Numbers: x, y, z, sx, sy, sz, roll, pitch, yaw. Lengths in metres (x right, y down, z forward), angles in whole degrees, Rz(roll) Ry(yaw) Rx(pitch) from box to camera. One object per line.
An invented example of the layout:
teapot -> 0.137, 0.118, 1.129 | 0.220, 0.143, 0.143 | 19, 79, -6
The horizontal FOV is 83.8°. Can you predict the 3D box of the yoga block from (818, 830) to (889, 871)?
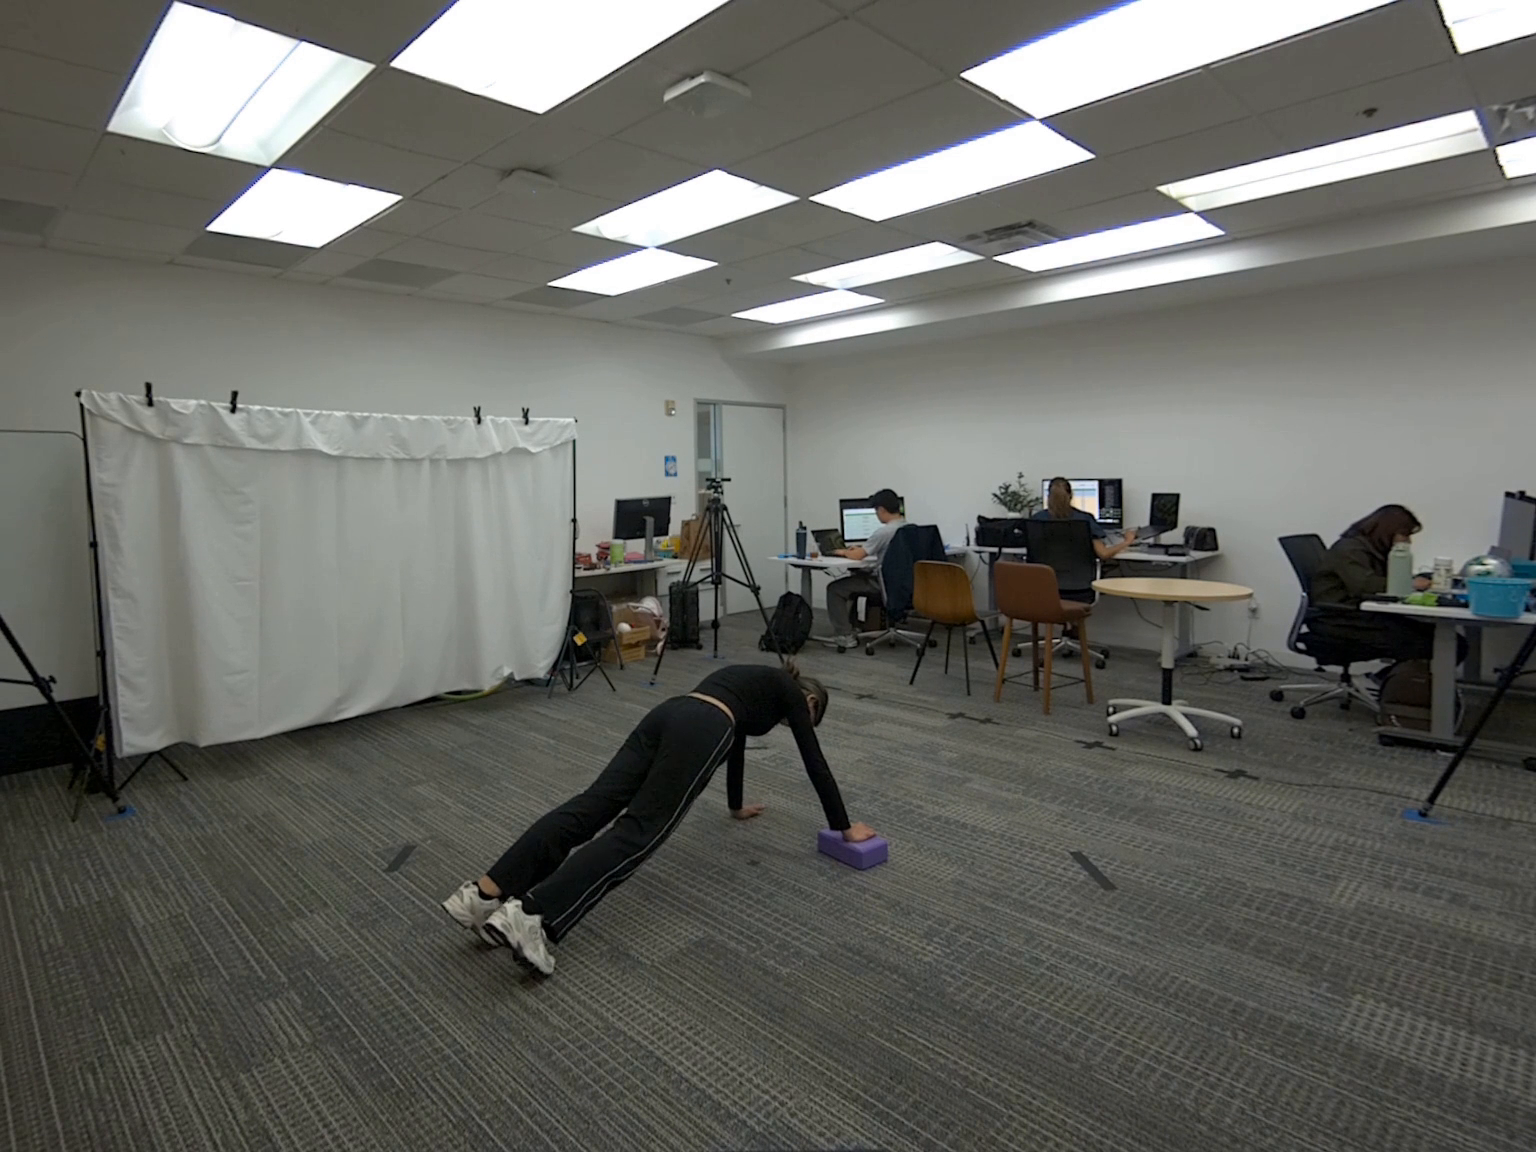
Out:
yoga block -> 0.308, 0.995, 3.151 | 0.145, 0.076, 0.237 | -5, 9, -37
